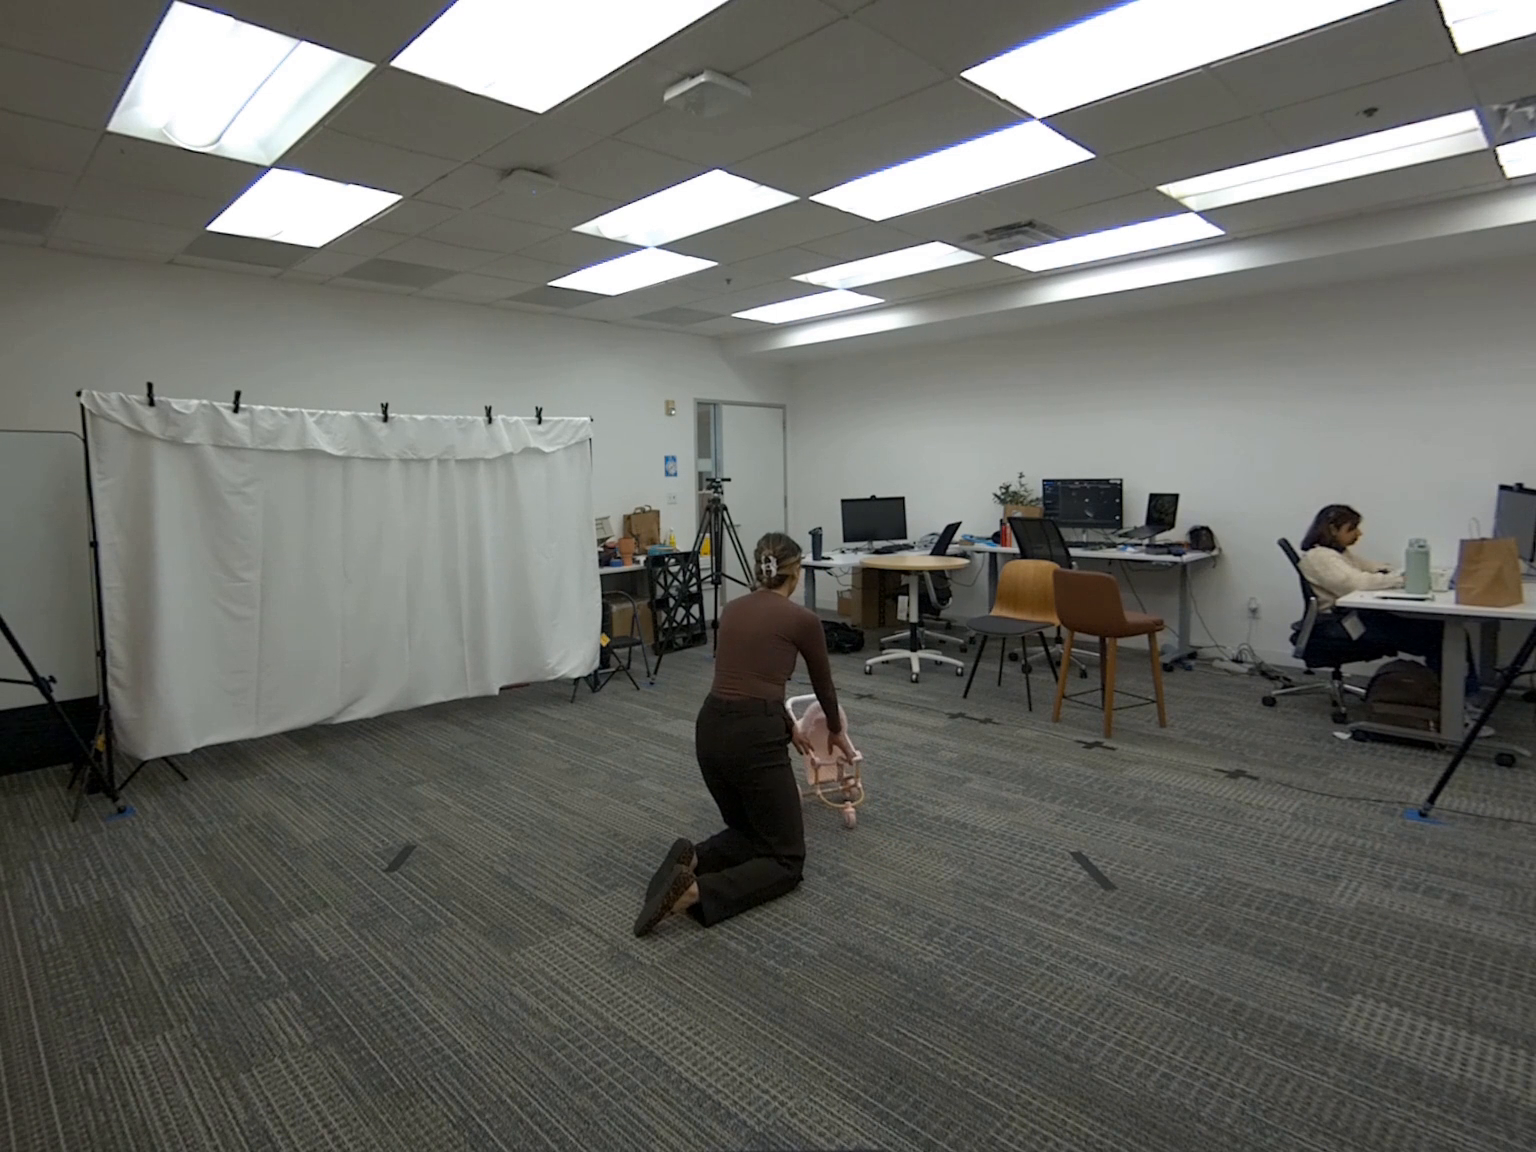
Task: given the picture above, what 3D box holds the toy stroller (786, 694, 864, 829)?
[{"bbox_3d":[0.243,0.753,3.561,0.277,0.541,0.343,-3,-11,-18],"label":"toy stroller"}]
